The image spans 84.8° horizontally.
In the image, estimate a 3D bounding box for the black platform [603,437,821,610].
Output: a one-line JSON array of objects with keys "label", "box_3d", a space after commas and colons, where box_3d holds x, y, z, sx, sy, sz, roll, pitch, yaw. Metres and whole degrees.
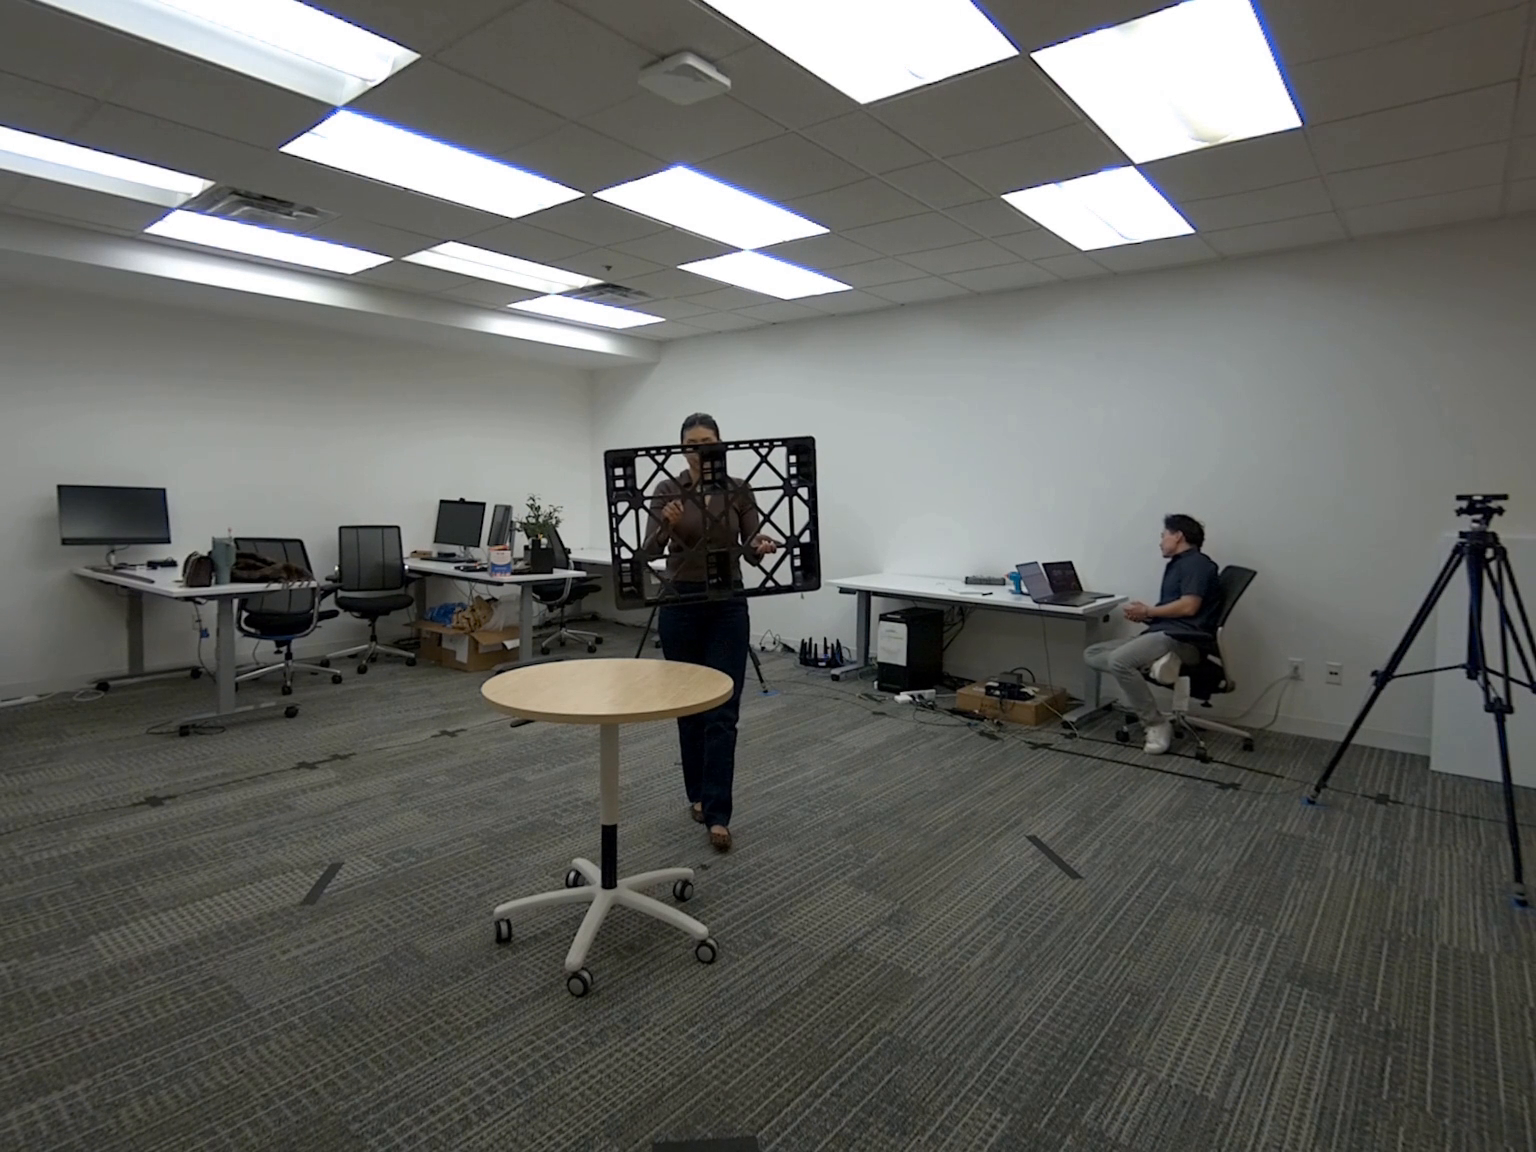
[{"label": "black platform", "box_3d": [-0.206, -0.210, 3.244, 0.797, 0.599, 0.146, -6, 10, -11]}]
